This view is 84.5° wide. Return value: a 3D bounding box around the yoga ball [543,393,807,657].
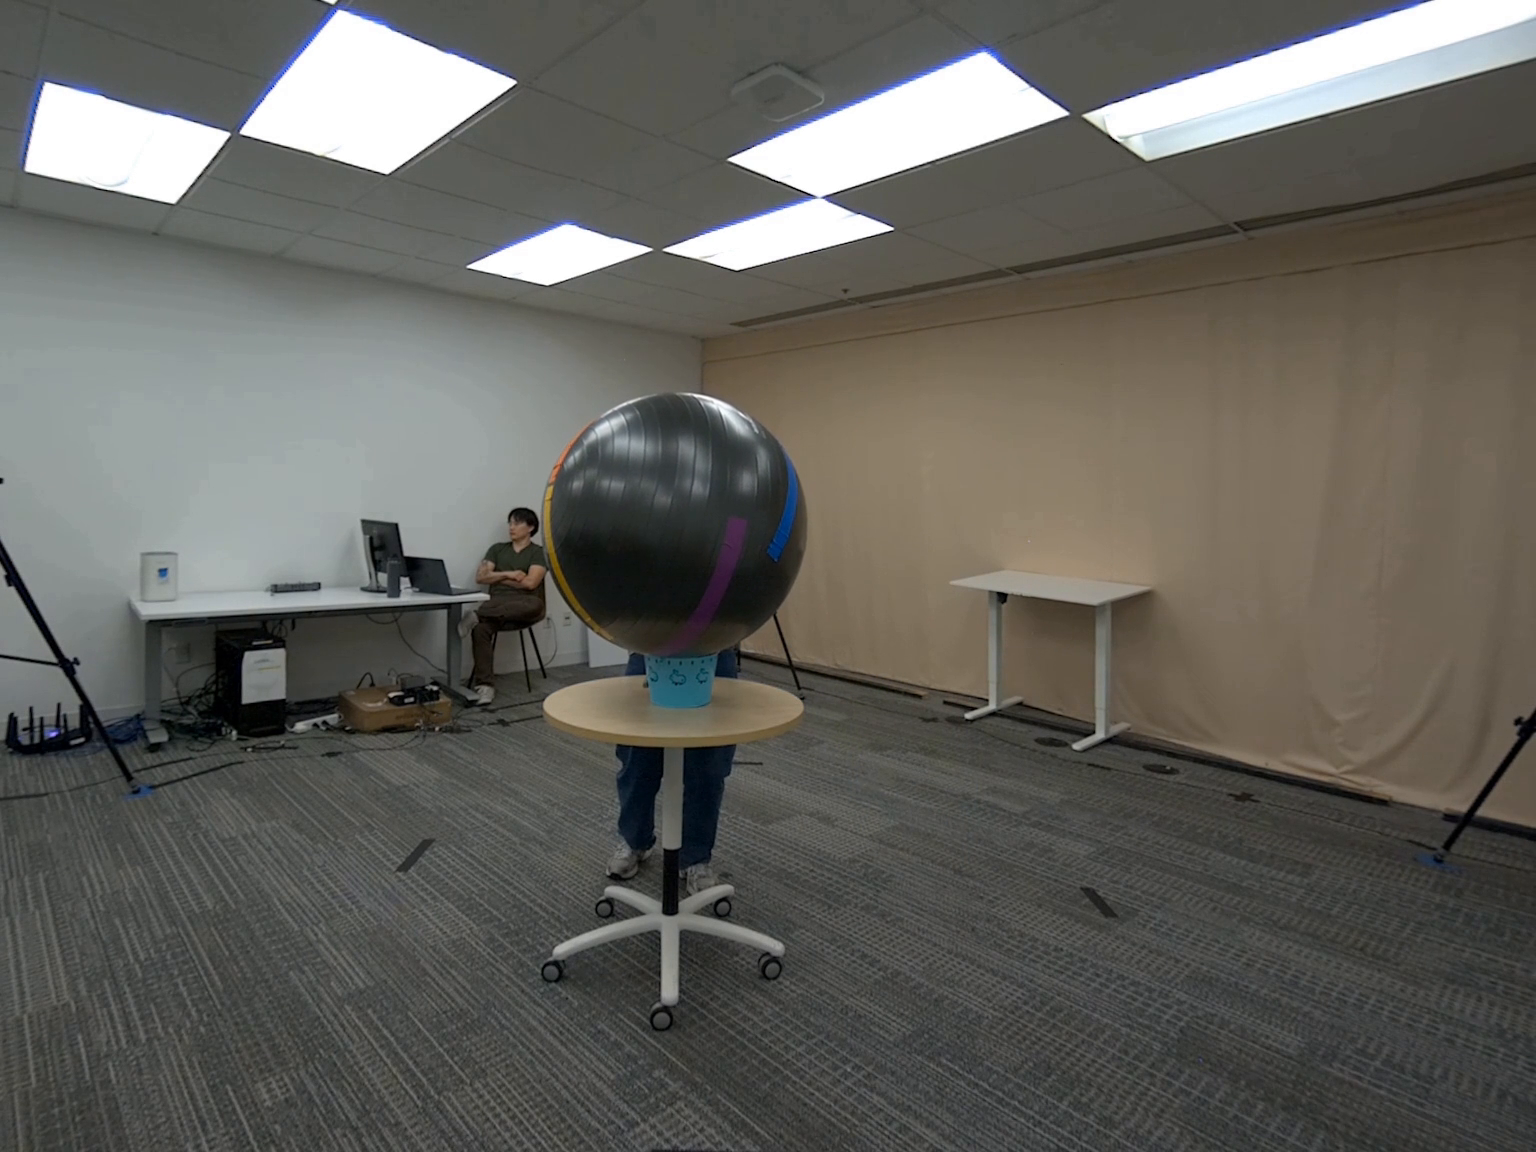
[{"bbox_3d":[-0.270,-0.139,2.418,0.757,0.756,0.761,1,4,-1],"label":"yoga ball"}]
